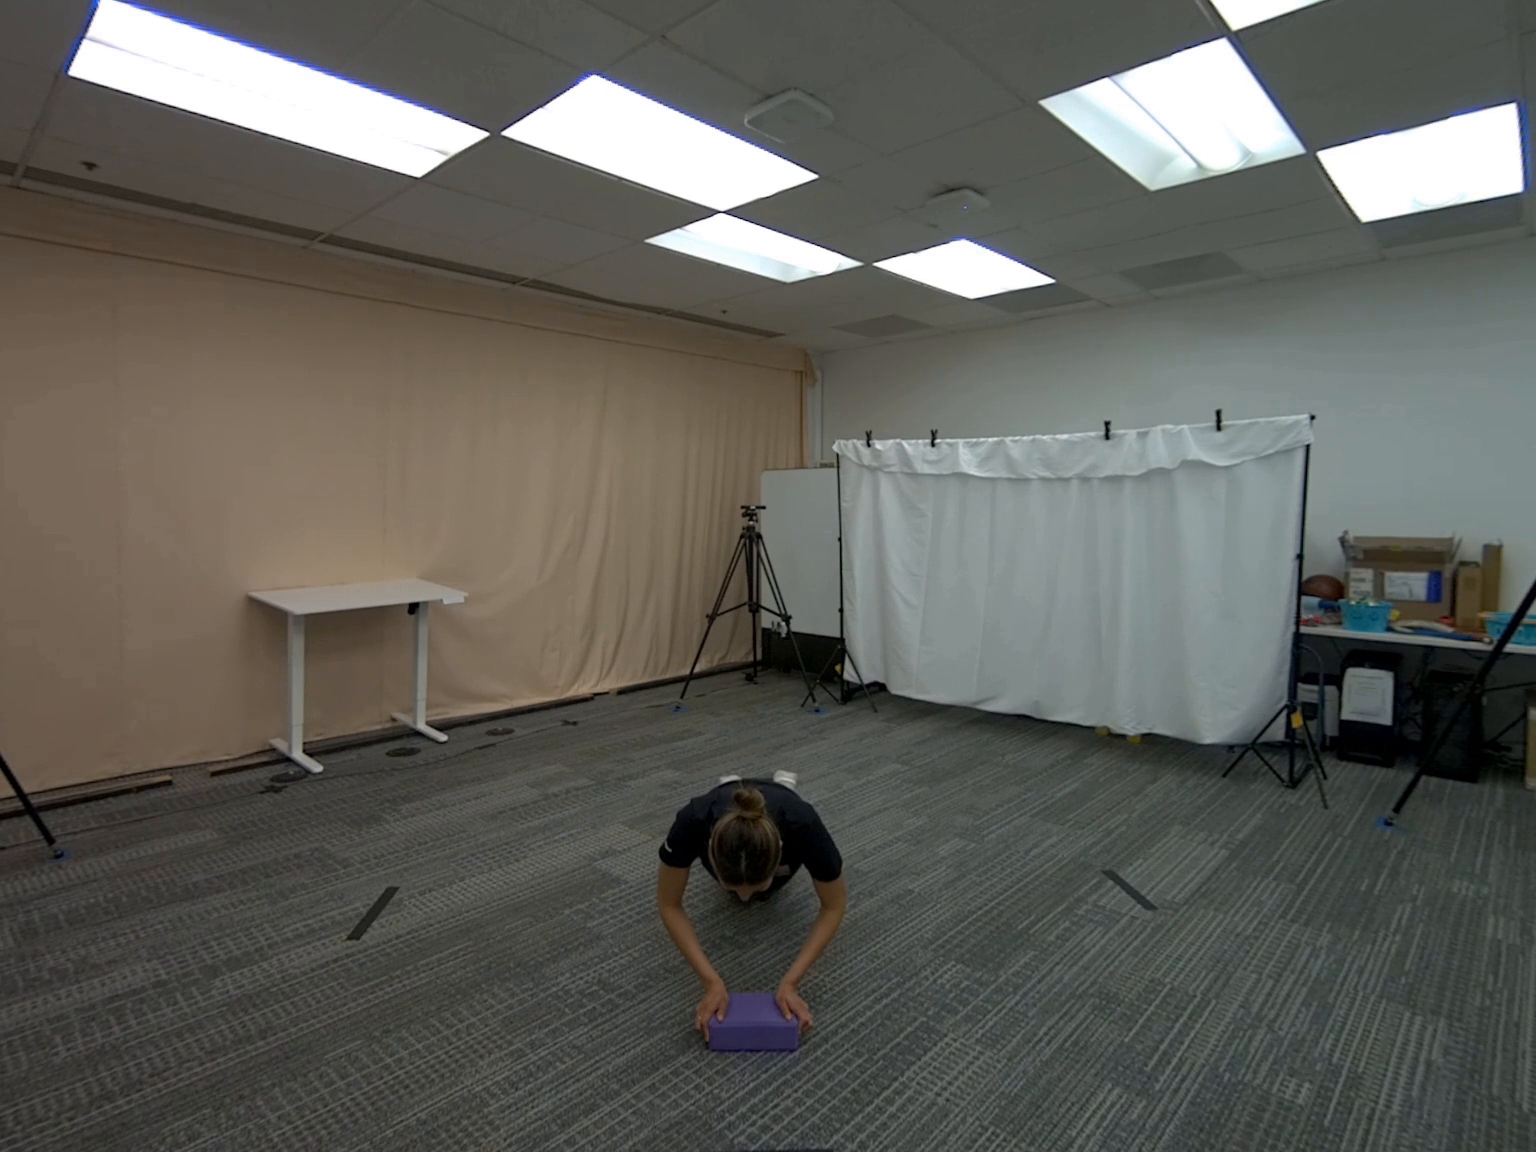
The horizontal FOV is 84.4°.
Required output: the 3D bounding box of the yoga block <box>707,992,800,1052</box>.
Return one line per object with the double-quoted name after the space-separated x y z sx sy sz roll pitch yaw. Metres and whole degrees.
-0.046 1.169 2.217 0.229 0.076 0.149 -2 5 -2 "yoga block"
